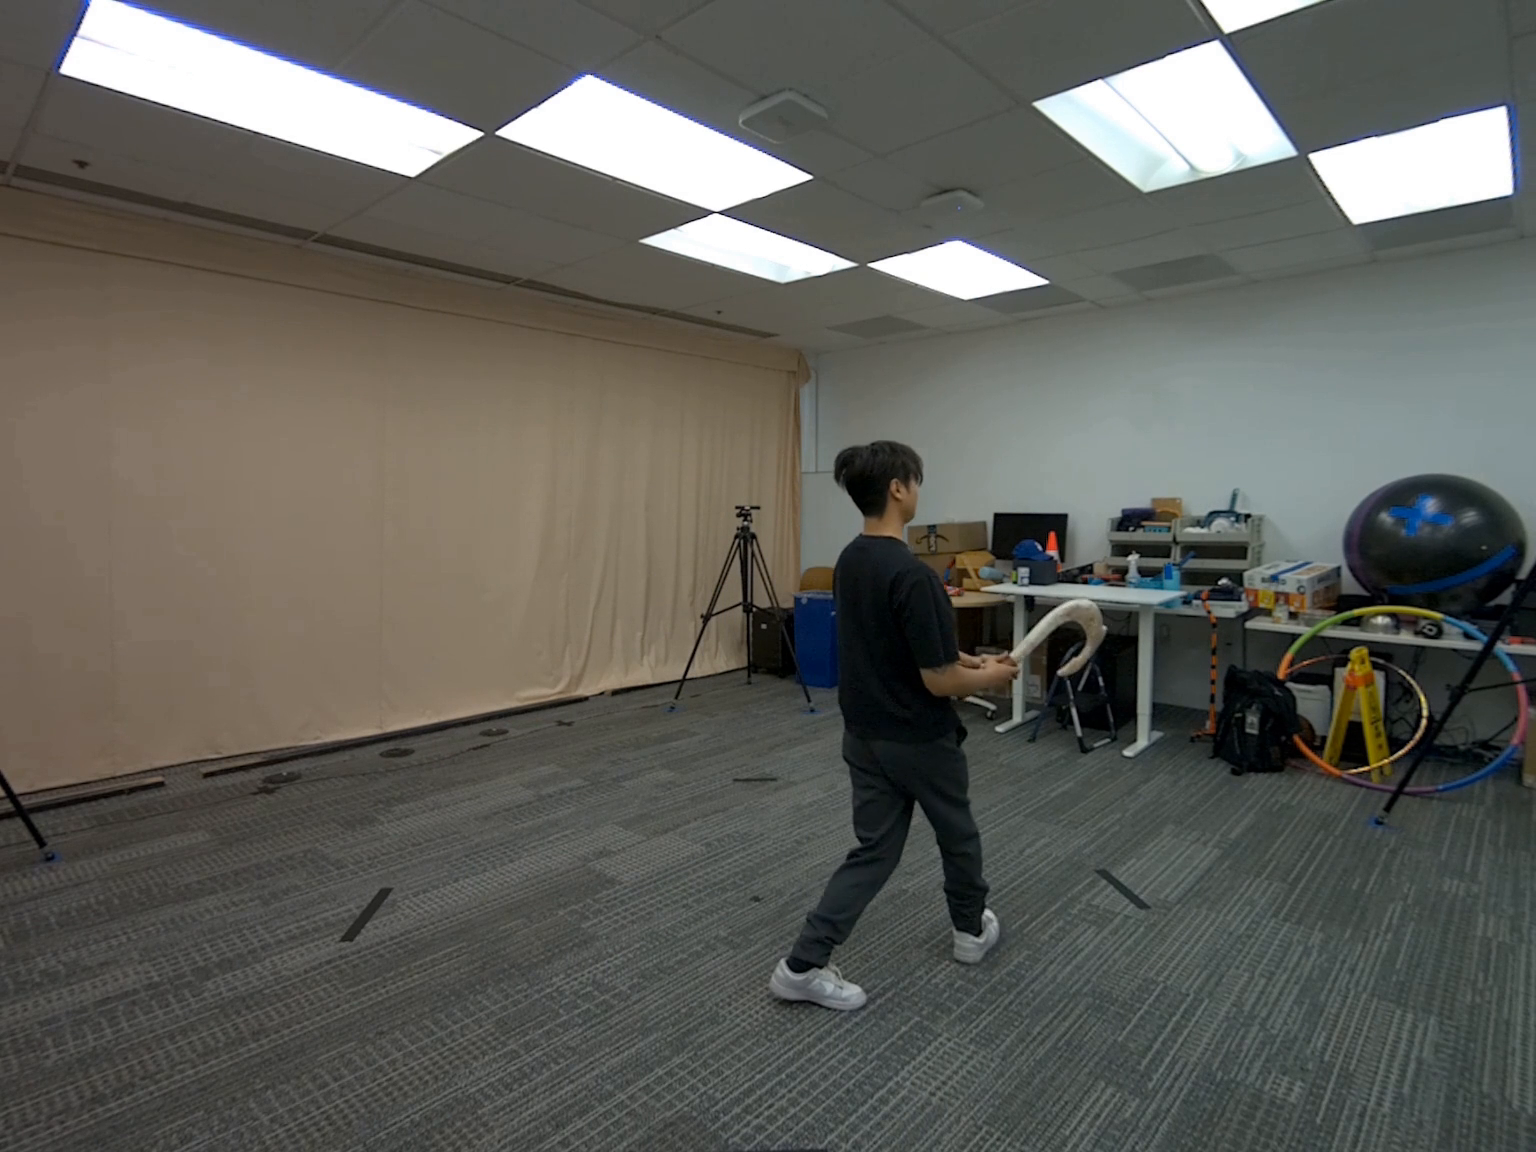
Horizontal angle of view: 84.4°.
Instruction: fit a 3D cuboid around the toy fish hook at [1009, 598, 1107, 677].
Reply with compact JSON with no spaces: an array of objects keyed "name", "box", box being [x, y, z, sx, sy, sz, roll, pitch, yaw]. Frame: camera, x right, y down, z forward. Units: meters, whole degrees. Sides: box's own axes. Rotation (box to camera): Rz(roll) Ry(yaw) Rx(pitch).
[{"name":"toy fish hook","box":[0.788,0.276,2.495,0.506,0.221,0.049,-30,13,-1]}]
